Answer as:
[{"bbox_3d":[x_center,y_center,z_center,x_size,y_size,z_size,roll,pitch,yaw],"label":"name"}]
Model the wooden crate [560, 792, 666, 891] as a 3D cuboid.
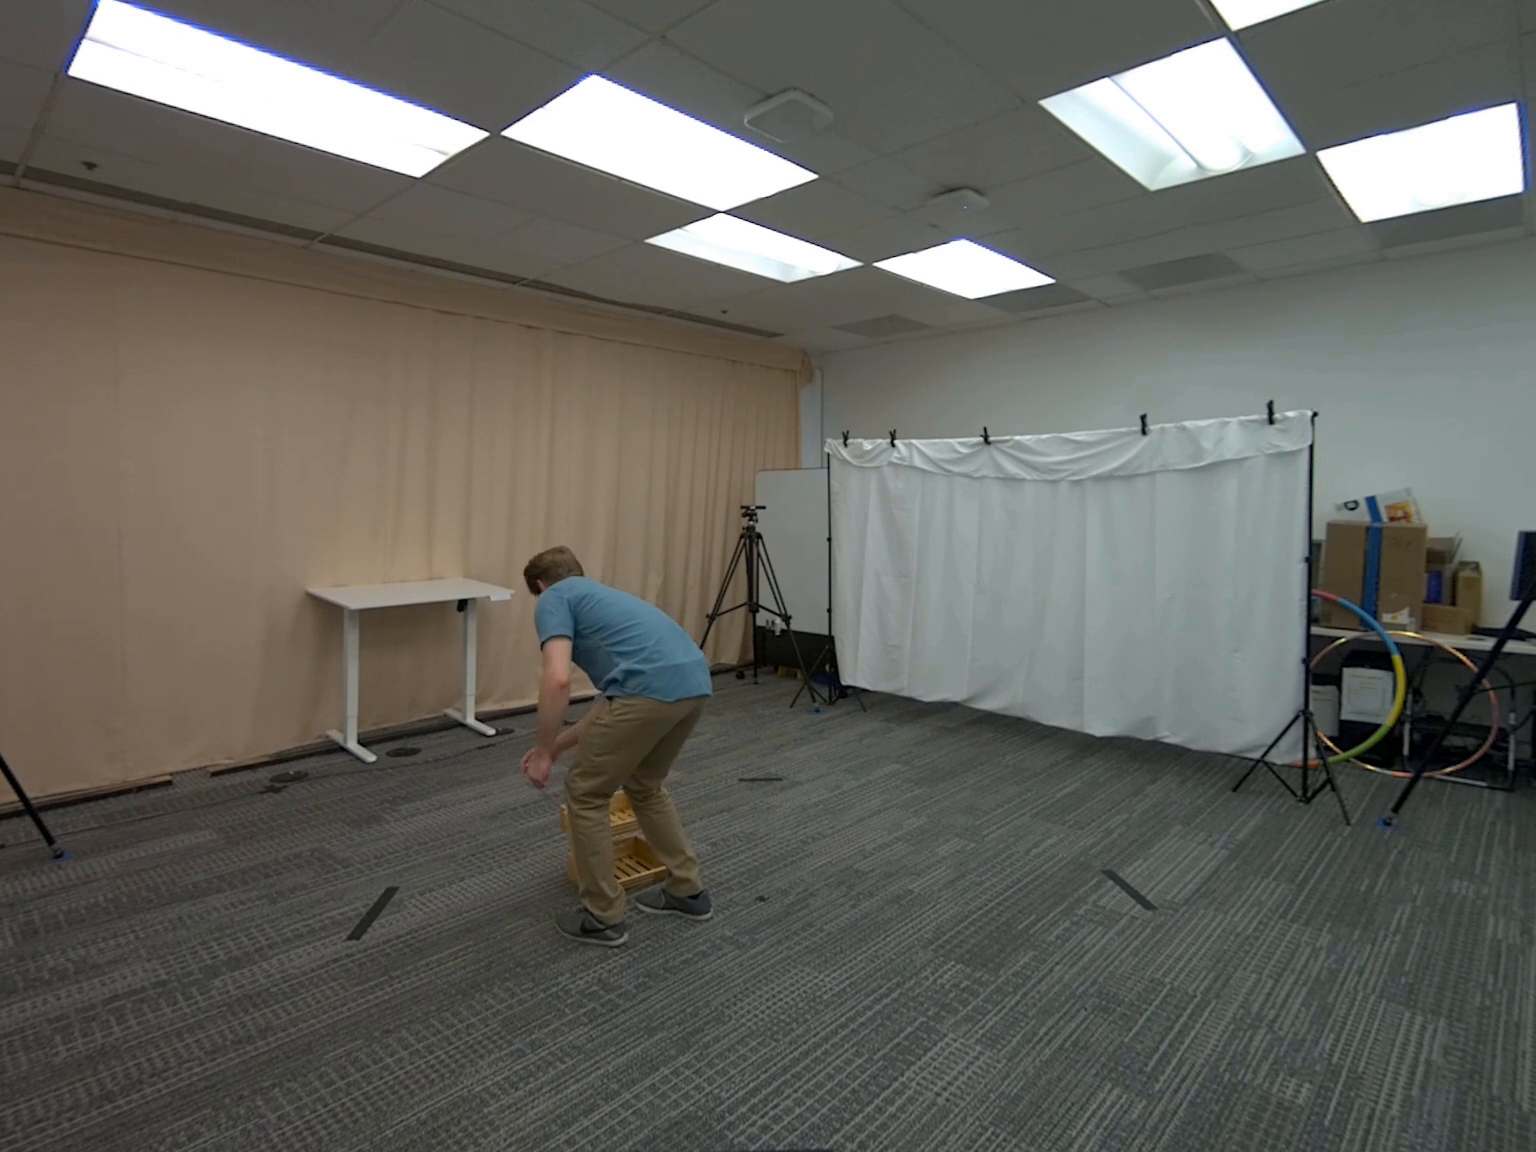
[{"bbox_3d":[-0.578,1.000,3.172,0.315,0.273,0.312,-3,4,-39],"label":"wooden crate"}]
